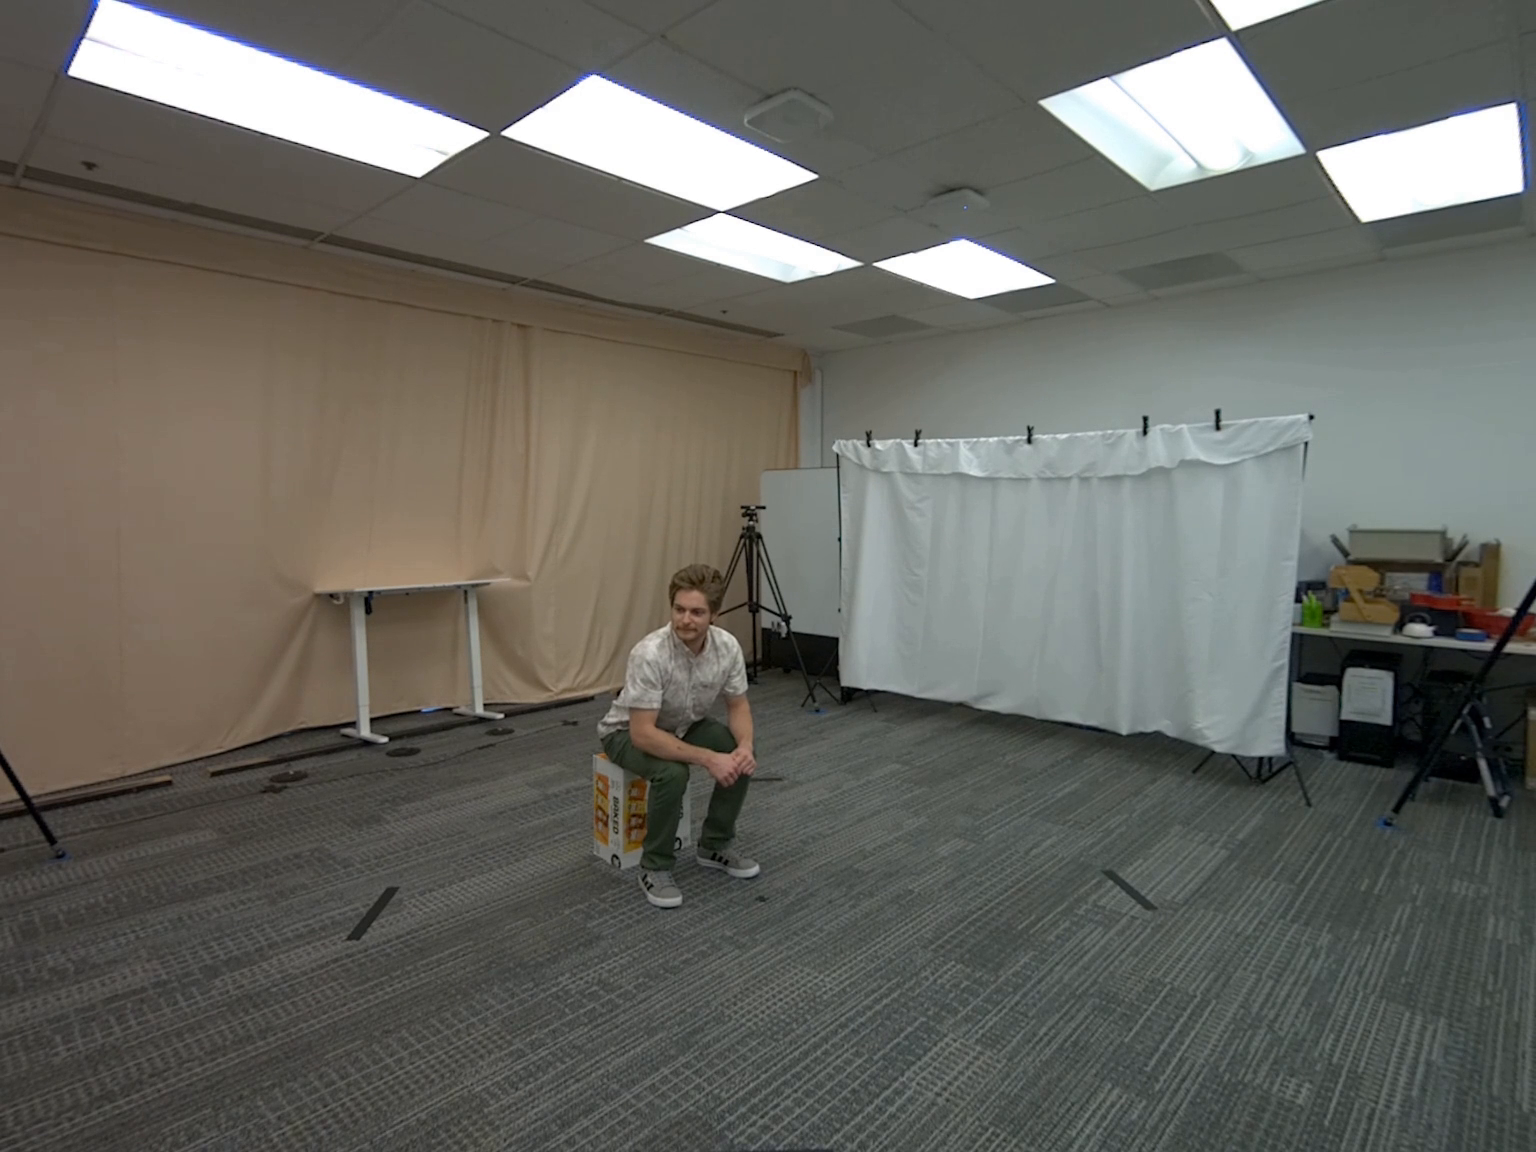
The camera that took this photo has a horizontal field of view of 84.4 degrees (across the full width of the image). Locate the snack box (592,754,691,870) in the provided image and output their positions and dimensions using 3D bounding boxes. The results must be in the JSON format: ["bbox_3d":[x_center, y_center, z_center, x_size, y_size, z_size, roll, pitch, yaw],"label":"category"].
[{"bbox_3d":[-0.511,0.913,3.407,0.330,0.404,0.213,-4,7,-44],"label":"snack box"}]
